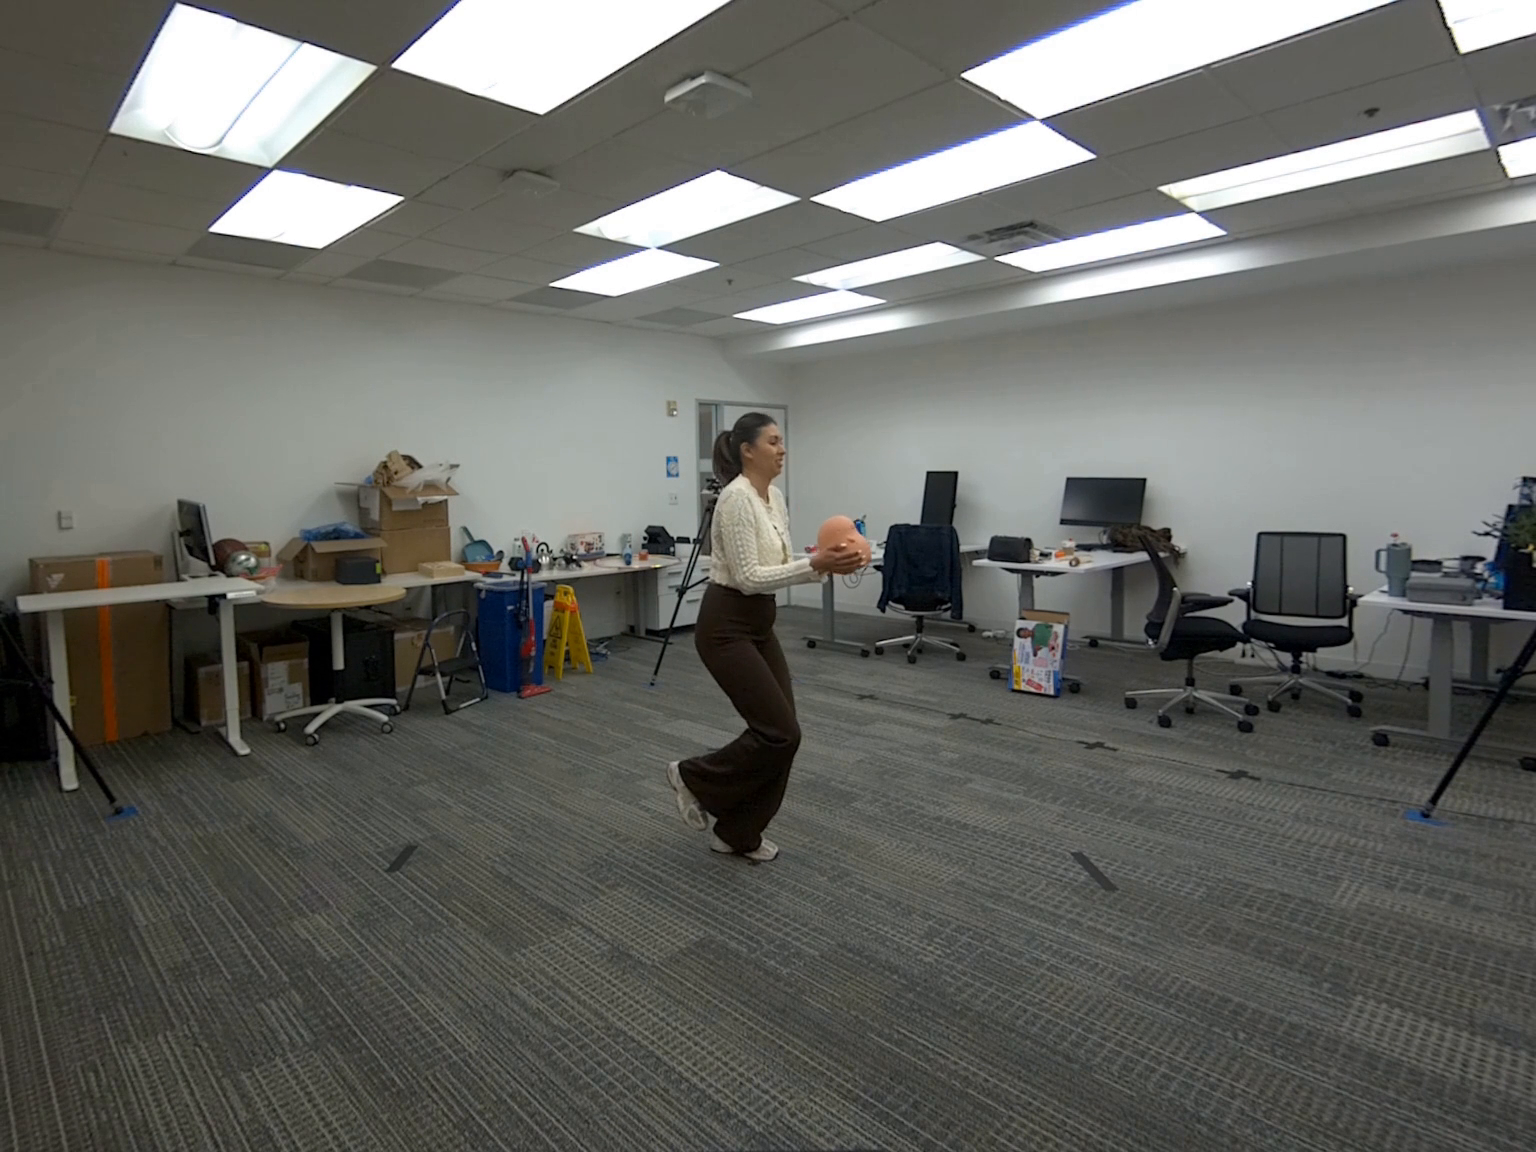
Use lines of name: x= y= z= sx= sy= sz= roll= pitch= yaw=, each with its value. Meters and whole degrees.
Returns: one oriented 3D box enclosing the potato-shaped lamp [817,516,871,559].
potato-shaped lamp: x=0.265 y=-0.130 z=3.002 sx=0.170 sy=0.196 sz=0.168 roll=-17 pitch=9 yaw=-14
